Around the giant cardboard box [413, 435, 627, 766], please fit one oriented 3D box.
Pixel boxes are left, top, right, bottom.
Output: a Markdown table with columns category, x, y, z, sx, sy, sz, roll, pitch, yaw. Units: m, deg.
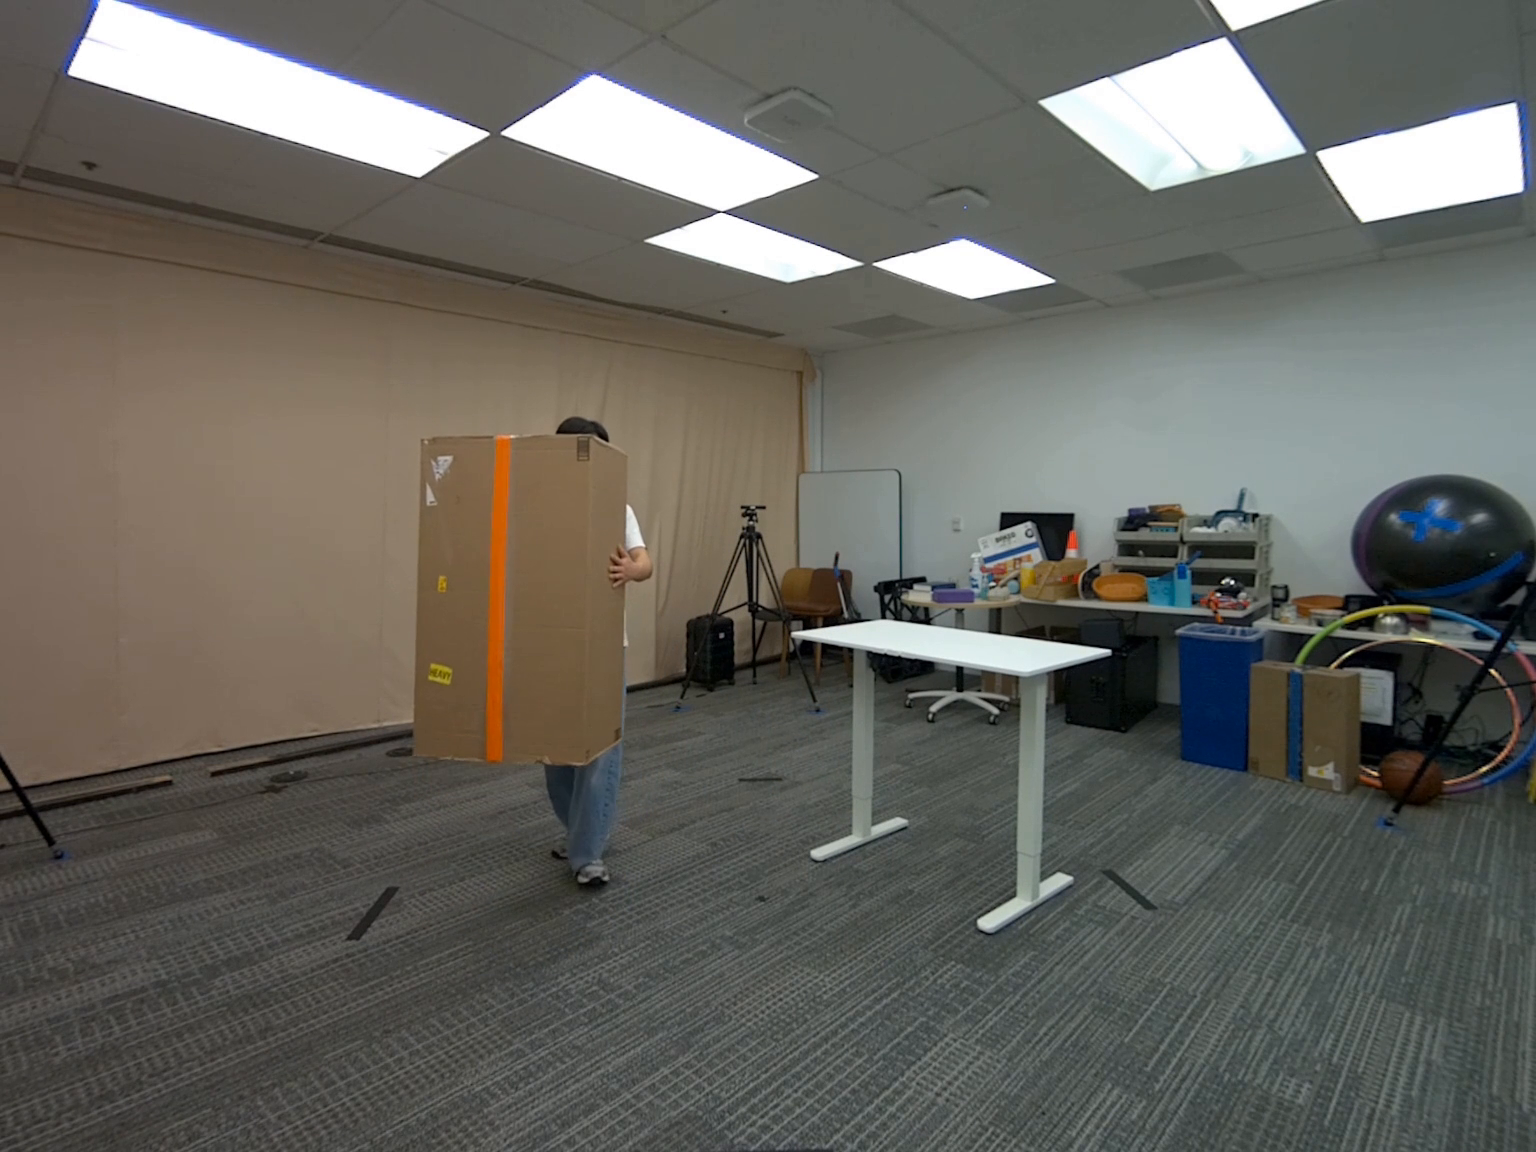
| category | x | y | z | sx | sy | sz | roll | pitch | yaw |
| --- | --- | --- | --- | --- | --- | --- | --- | --- | --- |
| giant cardboard box | -0.813 | 0.069 | 2.826 | 0.584 | 1.027 | 0.421 | 0 | -2 | 9 |
